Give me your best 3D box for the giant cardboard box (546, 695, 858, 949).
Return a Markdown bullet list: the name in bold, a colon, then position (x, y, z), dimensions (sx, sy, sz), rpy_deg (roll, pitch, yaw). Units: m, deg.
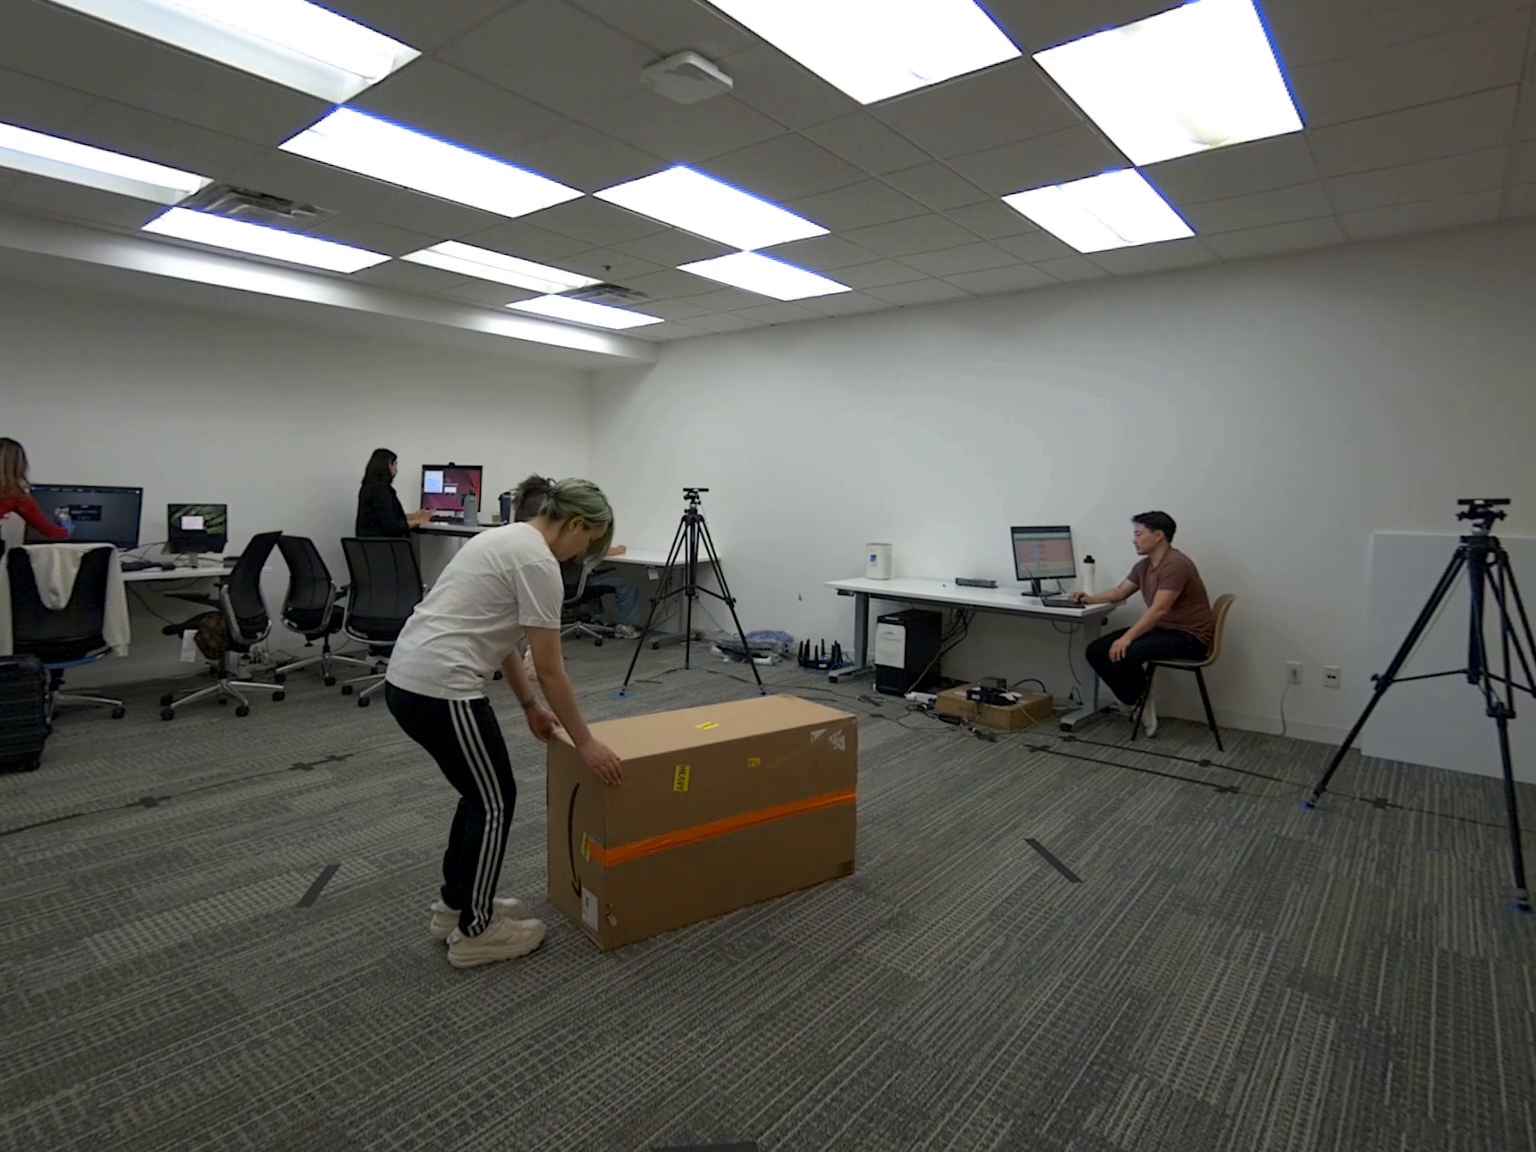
- **giant cardboard box**: position (-0.218, 0.796, 2.973), dimensions (0.998, 0.582, 0.462), rpy_deg (-3, 6, -36)
